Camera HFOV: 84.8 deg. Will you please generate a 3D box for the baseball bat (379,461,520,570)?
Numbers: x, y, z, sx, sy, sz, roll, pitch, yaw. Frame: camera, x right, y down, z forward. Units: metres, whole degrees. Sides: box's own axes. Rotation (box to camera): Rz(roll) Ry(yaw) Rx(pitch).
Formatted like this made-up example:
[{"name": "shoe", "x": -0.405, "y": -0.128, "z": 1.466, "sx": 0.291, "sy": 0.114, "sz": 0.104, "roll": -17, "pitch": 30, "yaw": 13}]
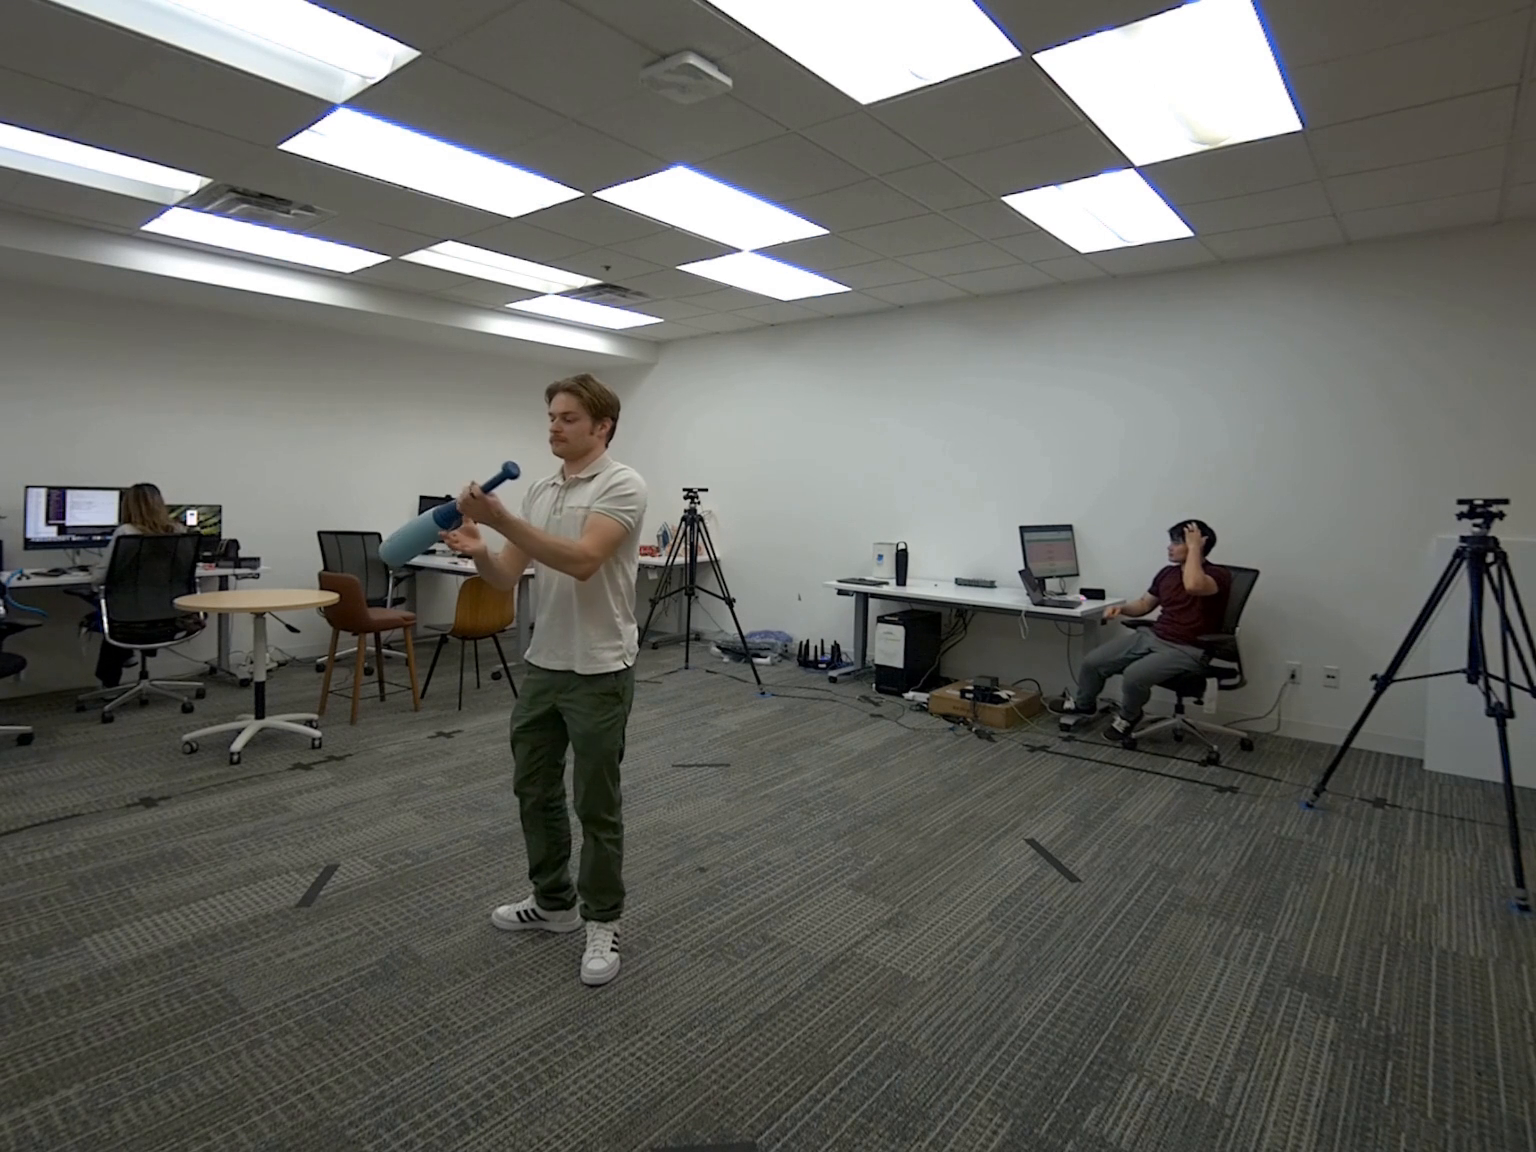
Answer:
[{"name": "baseball bat", "x": -0.850, "y": -0.161, "z": 2.224, "sx": 0.550, "sy": 0.090, "sz": 0.087, "roll": -26, "pitch": -11, "yaw": 30}]
